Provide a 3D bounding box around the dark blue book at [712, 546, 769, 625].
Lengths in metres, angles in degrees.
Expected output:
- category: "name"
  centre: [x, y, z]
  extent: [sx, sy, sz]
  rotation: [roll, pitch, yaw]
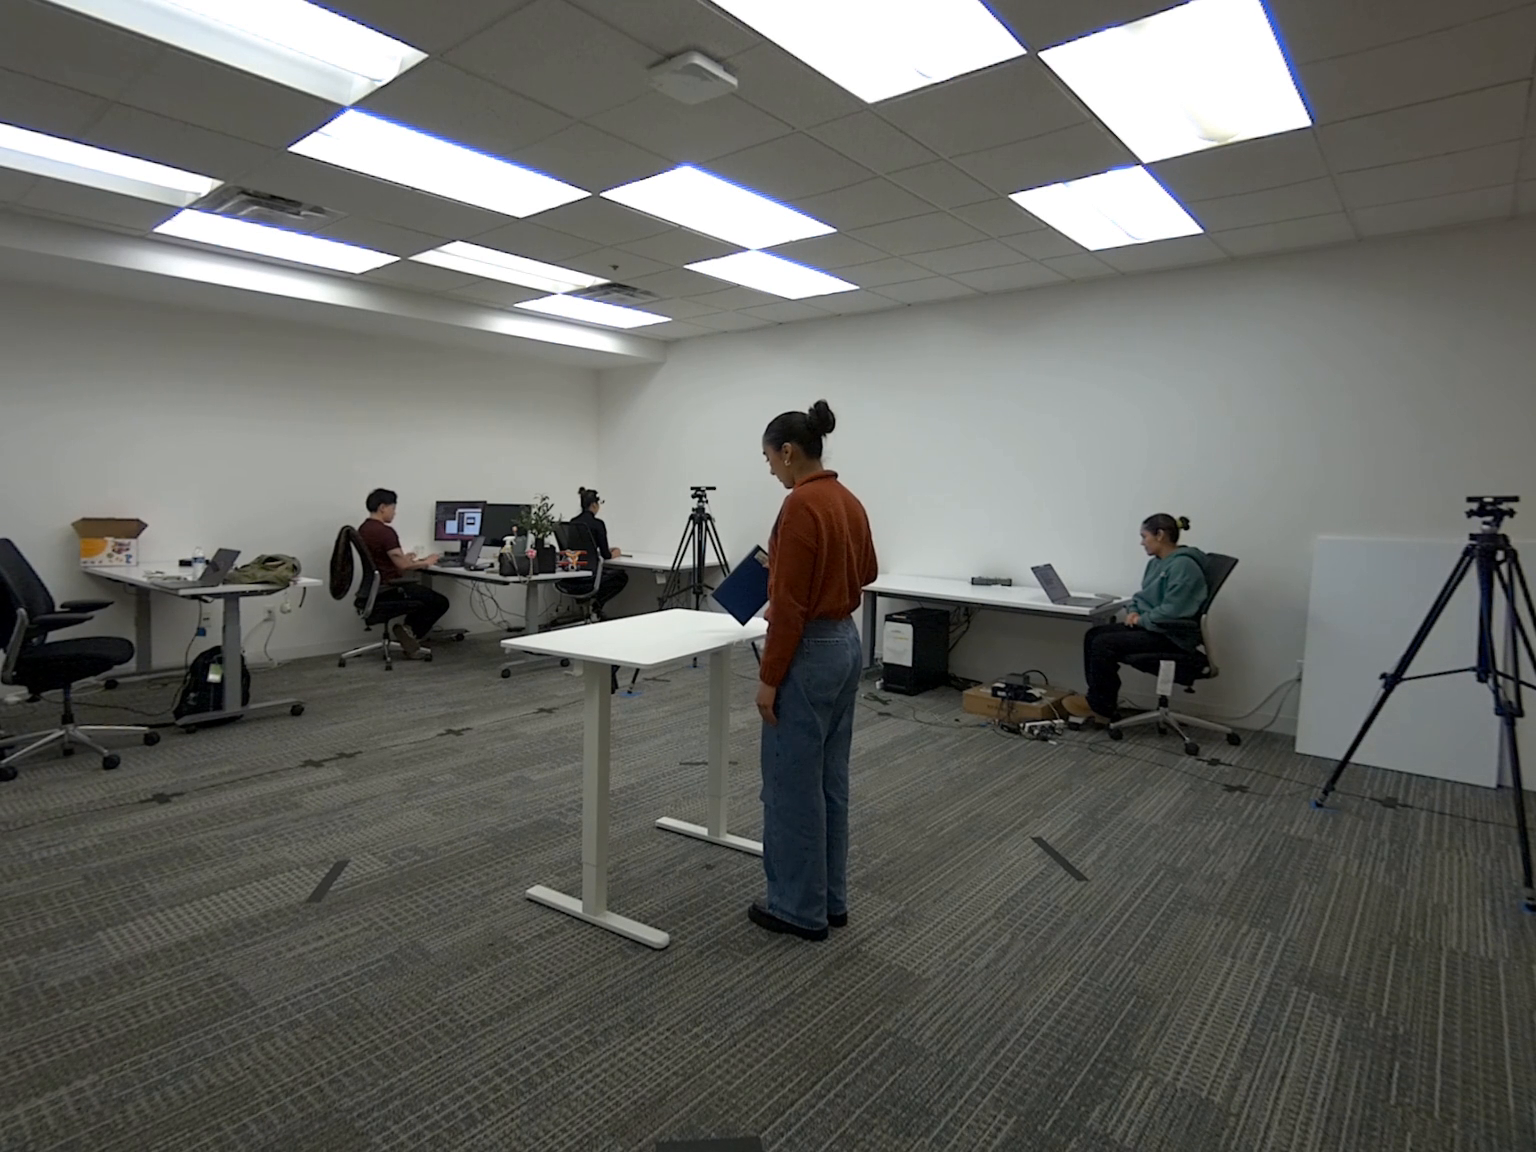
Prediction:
- category: "dark blue book"
  centre: [-0.072, 0.032, 2.982]
  extent: [0.163, 0.245, 0.045]
  rotation: [43, 1, -2]
